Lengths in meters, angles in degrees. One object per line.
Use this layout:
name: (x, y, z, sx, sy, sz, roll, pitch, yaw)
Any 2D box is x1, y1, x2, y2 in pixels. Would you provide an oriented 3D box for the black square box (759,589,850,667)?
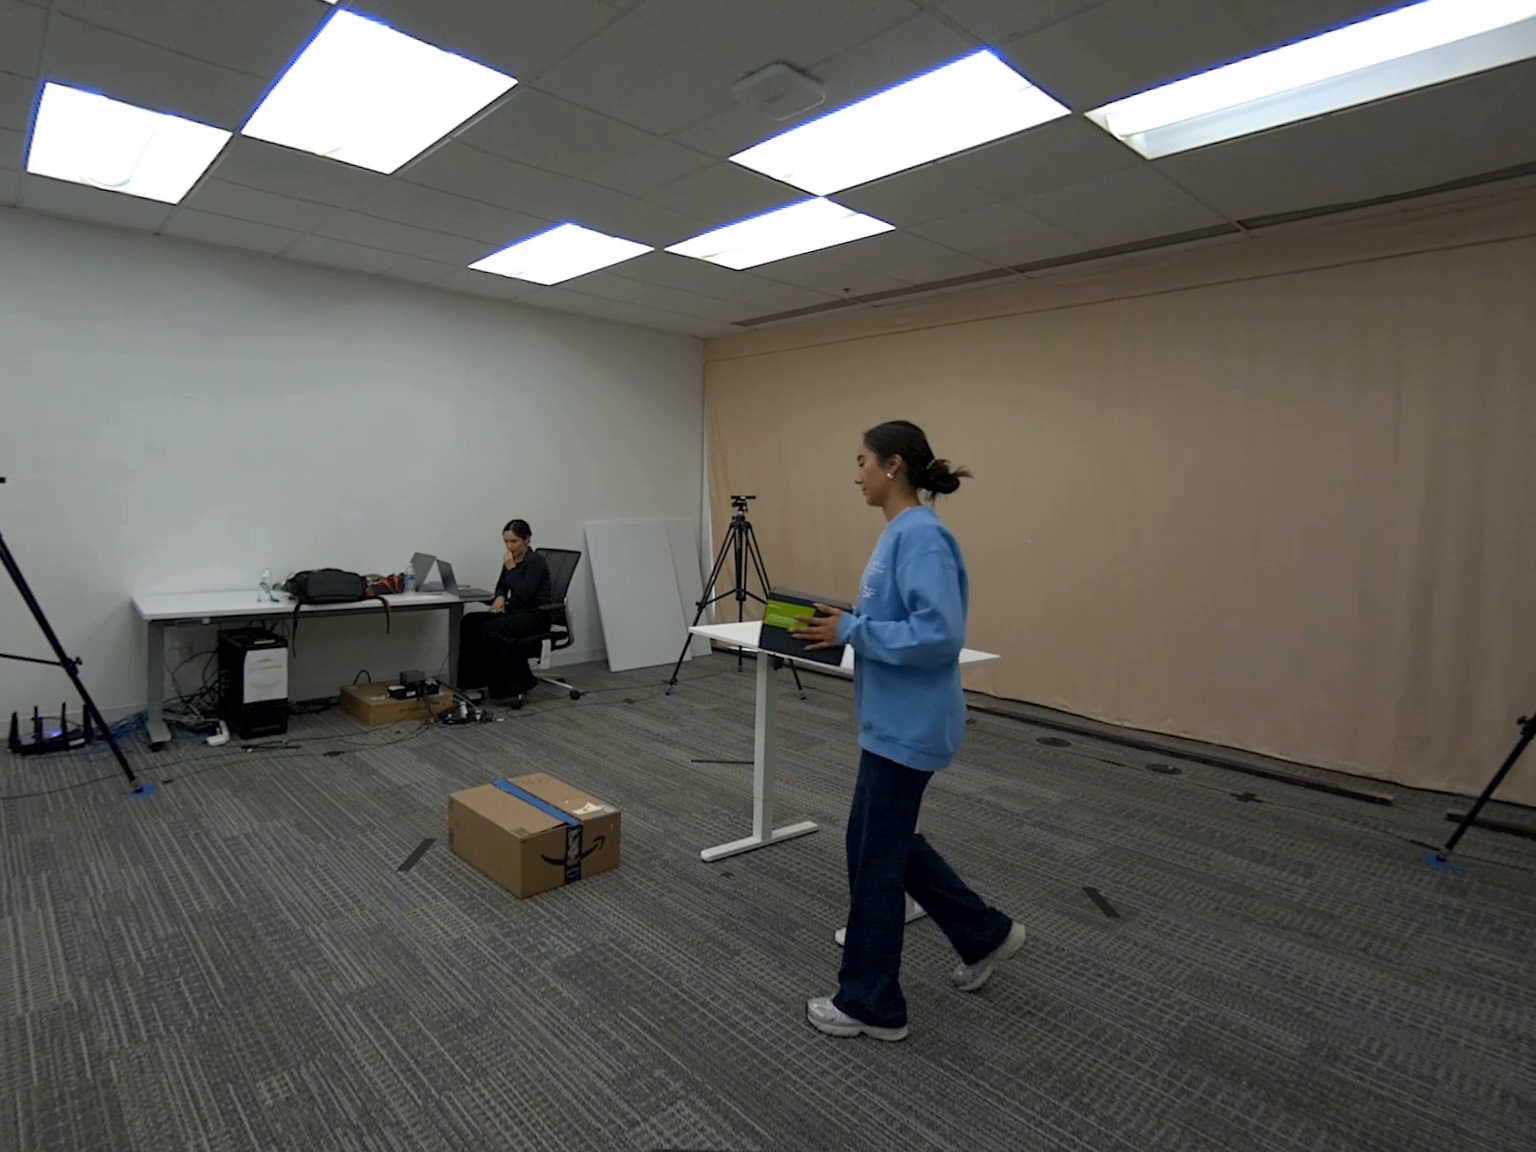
black square box: (0.118, 0.140, 2.318, 0.229, 0.155, 0.216, 10, 4, 7)
